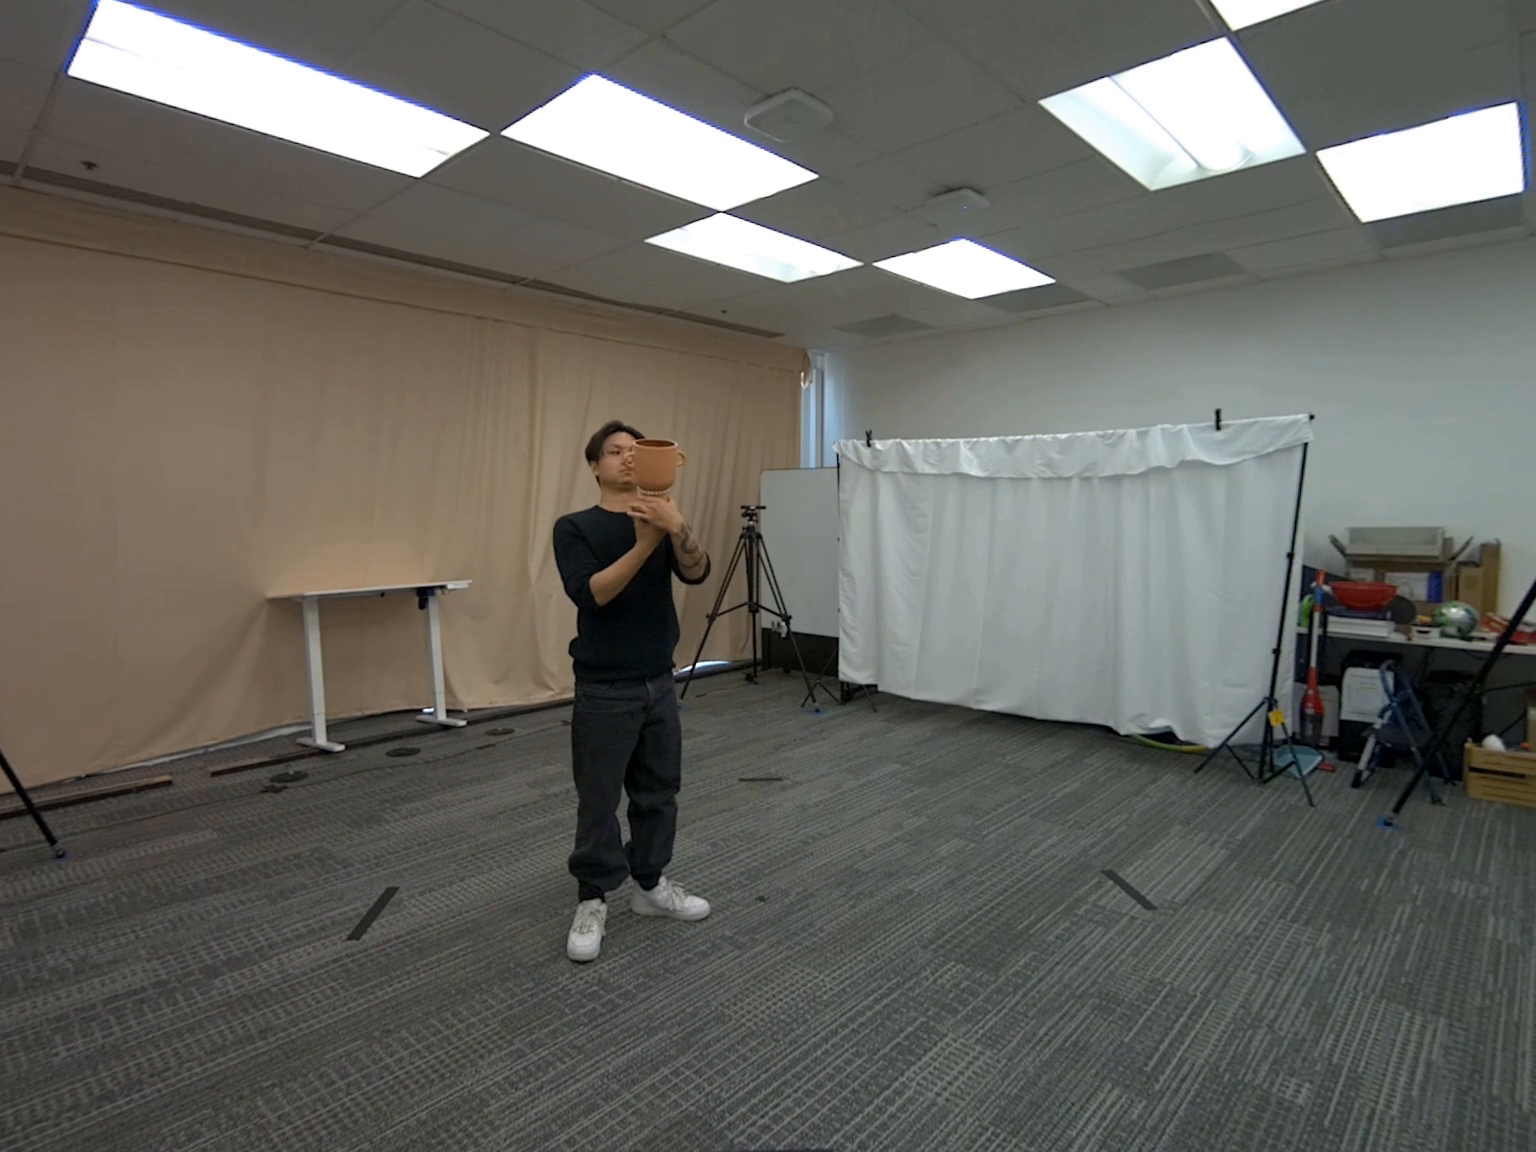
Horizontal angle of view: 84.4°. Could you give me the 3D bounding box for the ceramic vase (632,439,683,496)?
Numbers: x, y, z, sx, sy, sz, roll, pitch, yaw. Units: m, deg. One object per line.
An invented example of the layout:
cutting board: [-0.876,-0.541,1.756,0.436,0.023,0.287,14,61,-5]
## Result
ceramic vase: [-0.334,-0.292,2.499,0.161,0.218,0.134,8,18,11]
